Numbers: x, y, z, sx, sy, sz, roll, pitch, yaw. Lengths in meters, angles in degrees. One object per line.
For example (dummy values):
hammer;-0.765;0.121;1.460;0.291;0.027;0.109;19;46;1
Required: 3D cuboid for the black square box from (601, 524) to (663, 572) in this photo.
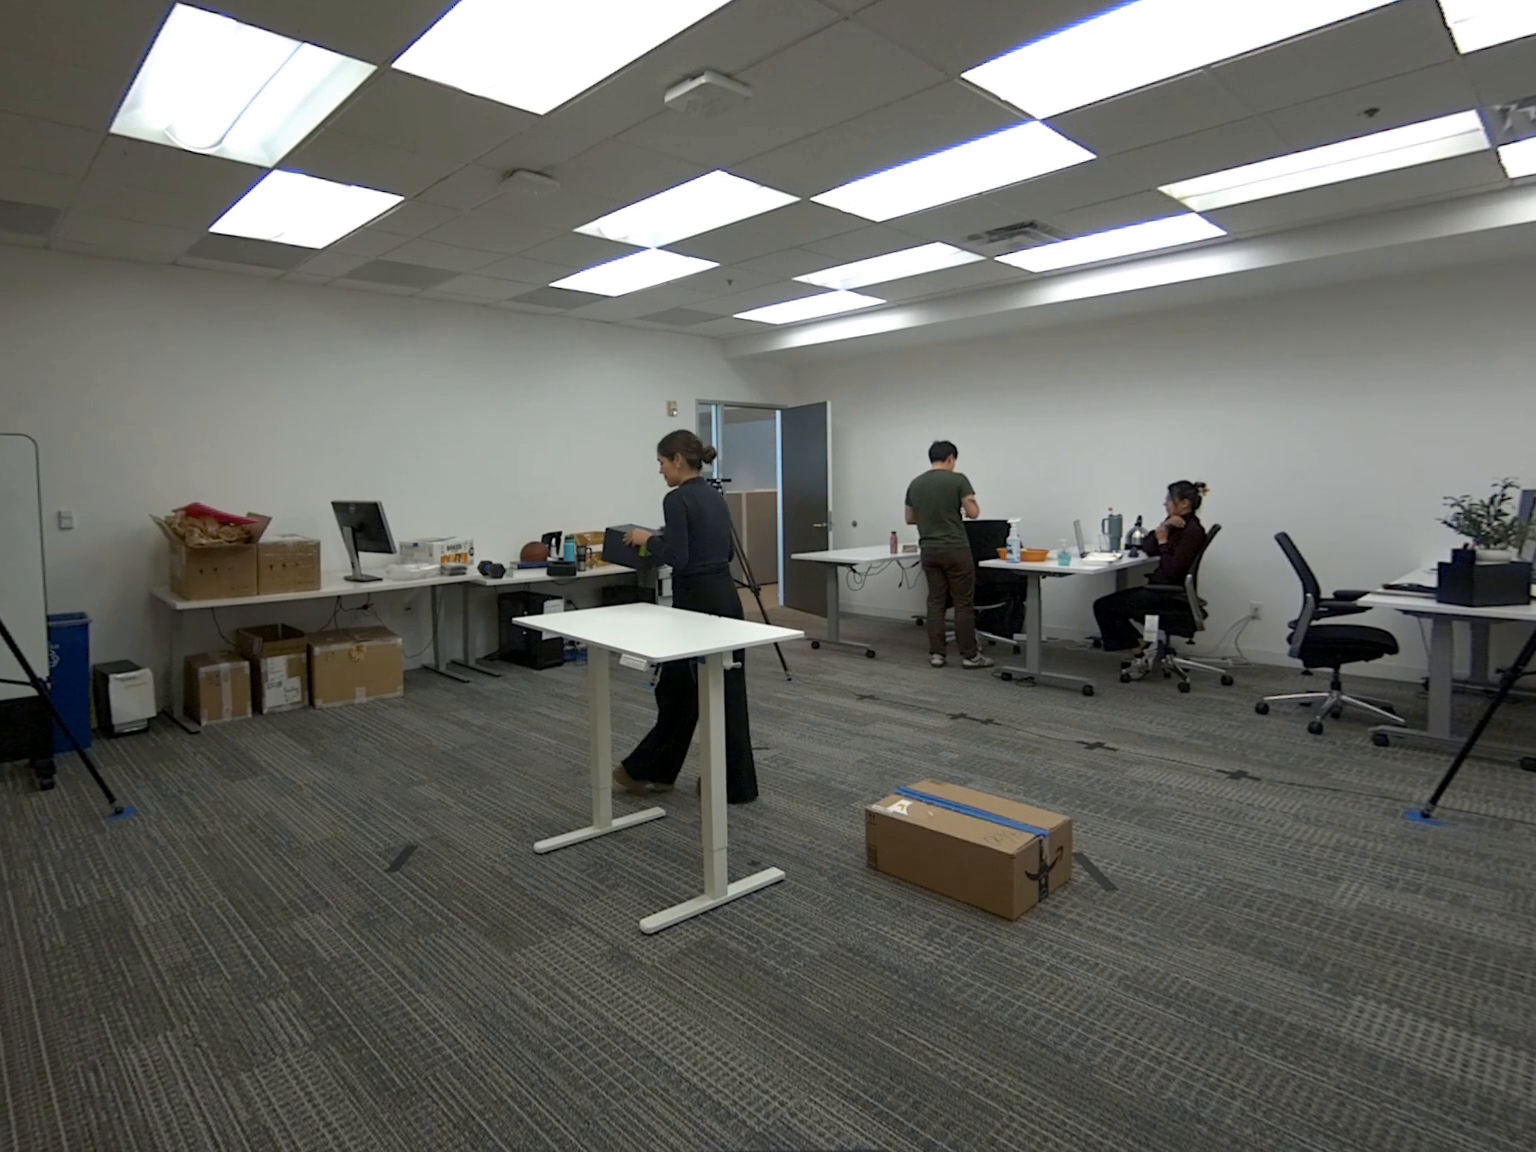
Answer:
black square box;-0.608;-0.138;3.877;0.221;0.155;0.225;13;12;16
